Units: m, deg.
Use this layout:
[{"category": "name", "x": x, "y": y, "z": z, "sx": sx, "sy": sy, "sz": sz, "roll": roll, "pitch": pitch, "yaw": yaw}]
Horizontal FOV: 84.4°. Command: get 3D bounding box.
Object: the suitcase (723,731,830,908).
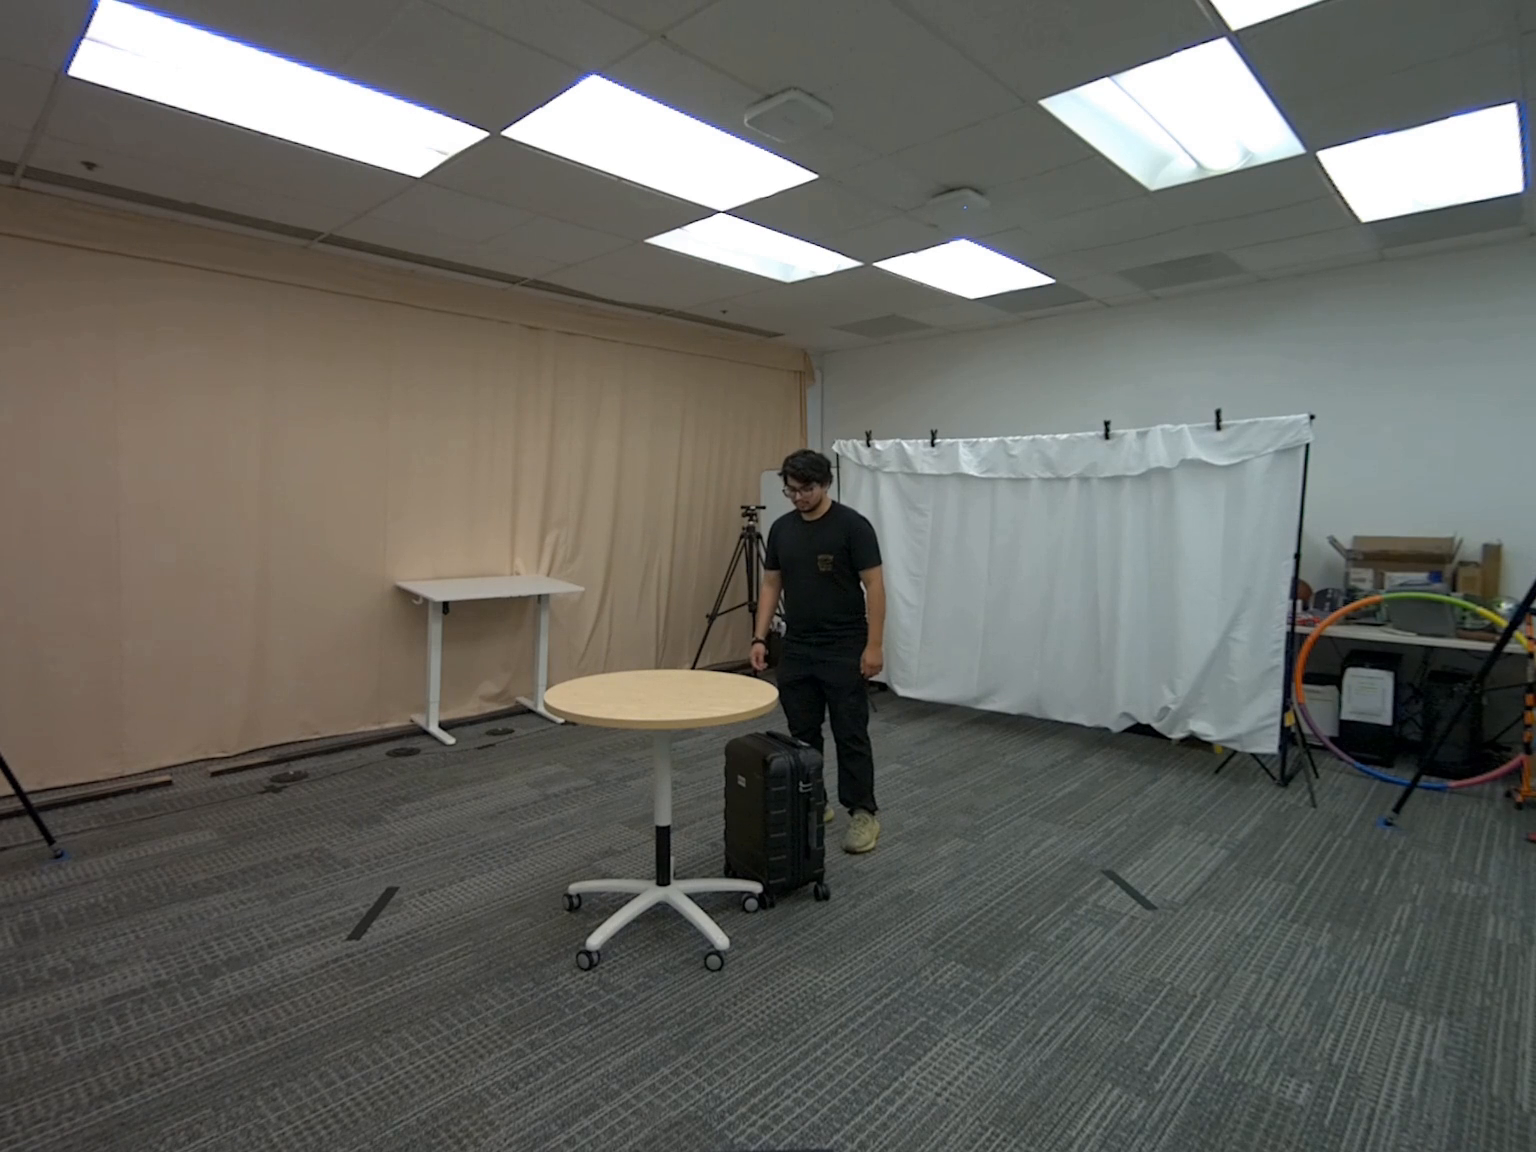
[{"category": "suitcase", "x": 0.018, "y": 0.855, "z": 3.064, "sx": 0.242, "sy": 0.548, "sz": 0.385, "roll": -2, "pitch": 3, "yaw": -28}]
